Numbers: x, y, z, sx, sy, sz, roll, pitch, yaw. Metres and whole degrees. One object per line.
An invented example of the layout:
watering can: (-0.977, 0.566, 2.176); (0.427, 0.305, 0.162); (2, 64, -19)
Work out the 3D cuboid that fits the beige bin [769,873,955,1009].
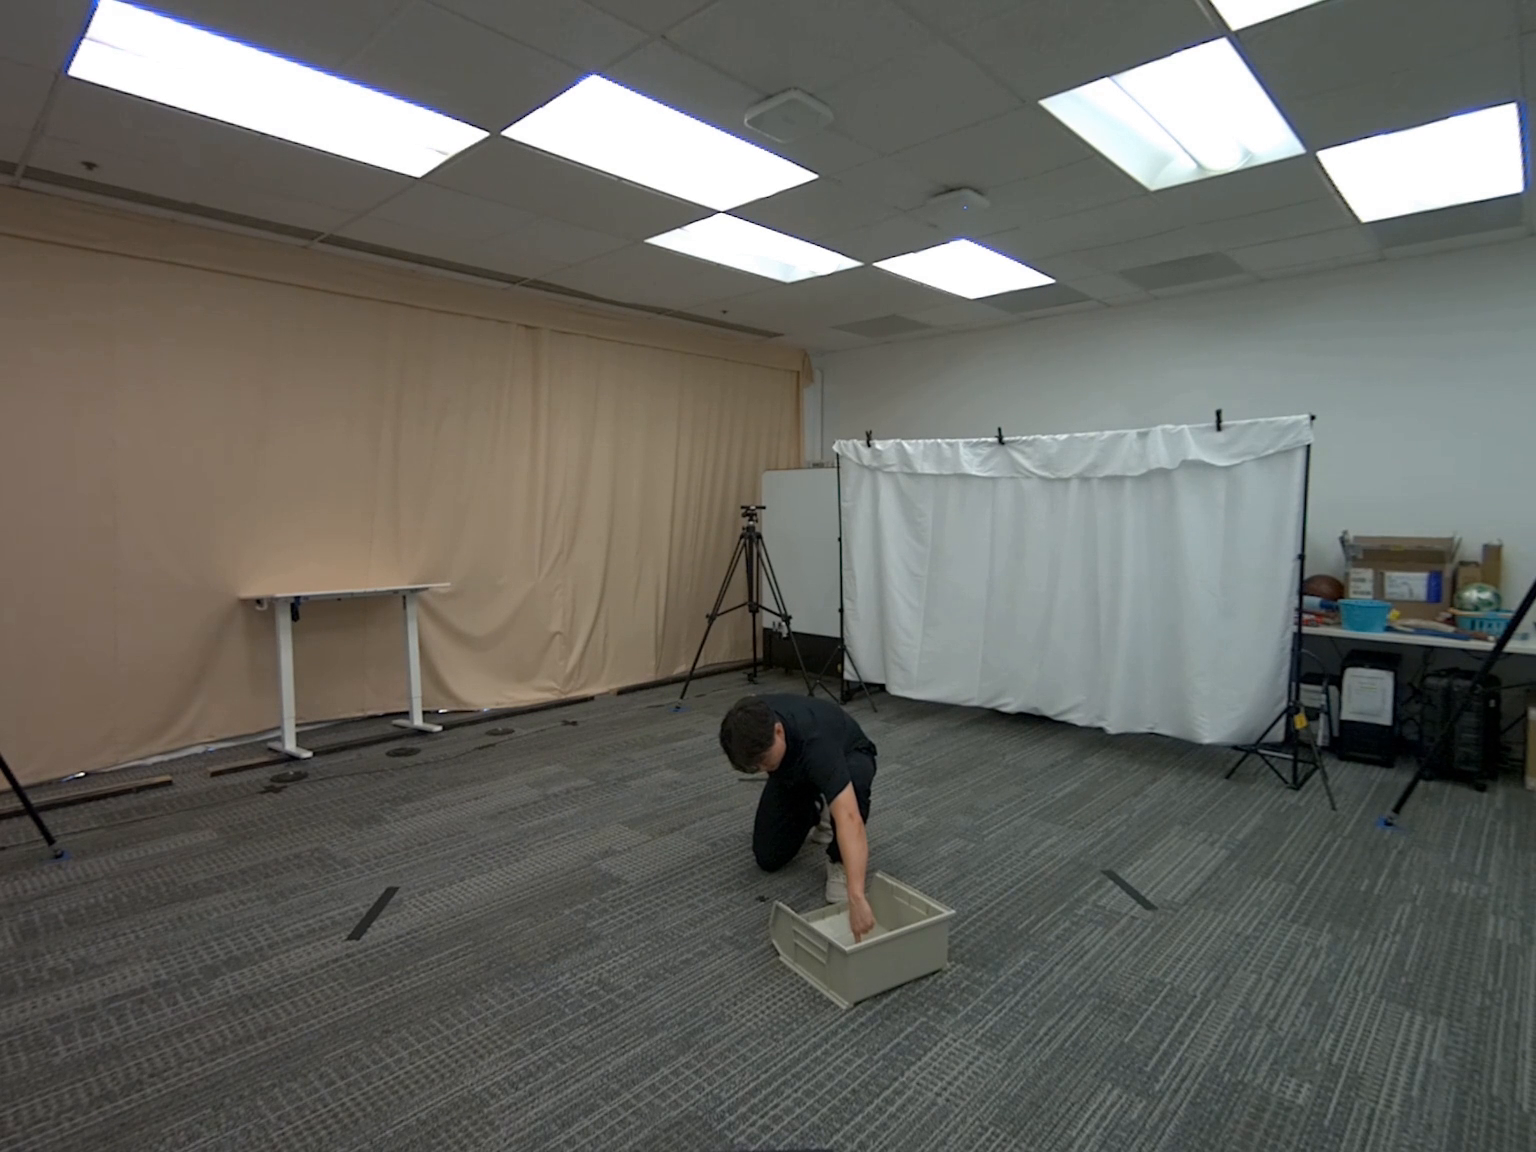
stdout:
beige bin: (0.280, 1.081, 2.573); (0.410, 0.188, 0.389); (-2, 5, -33)
